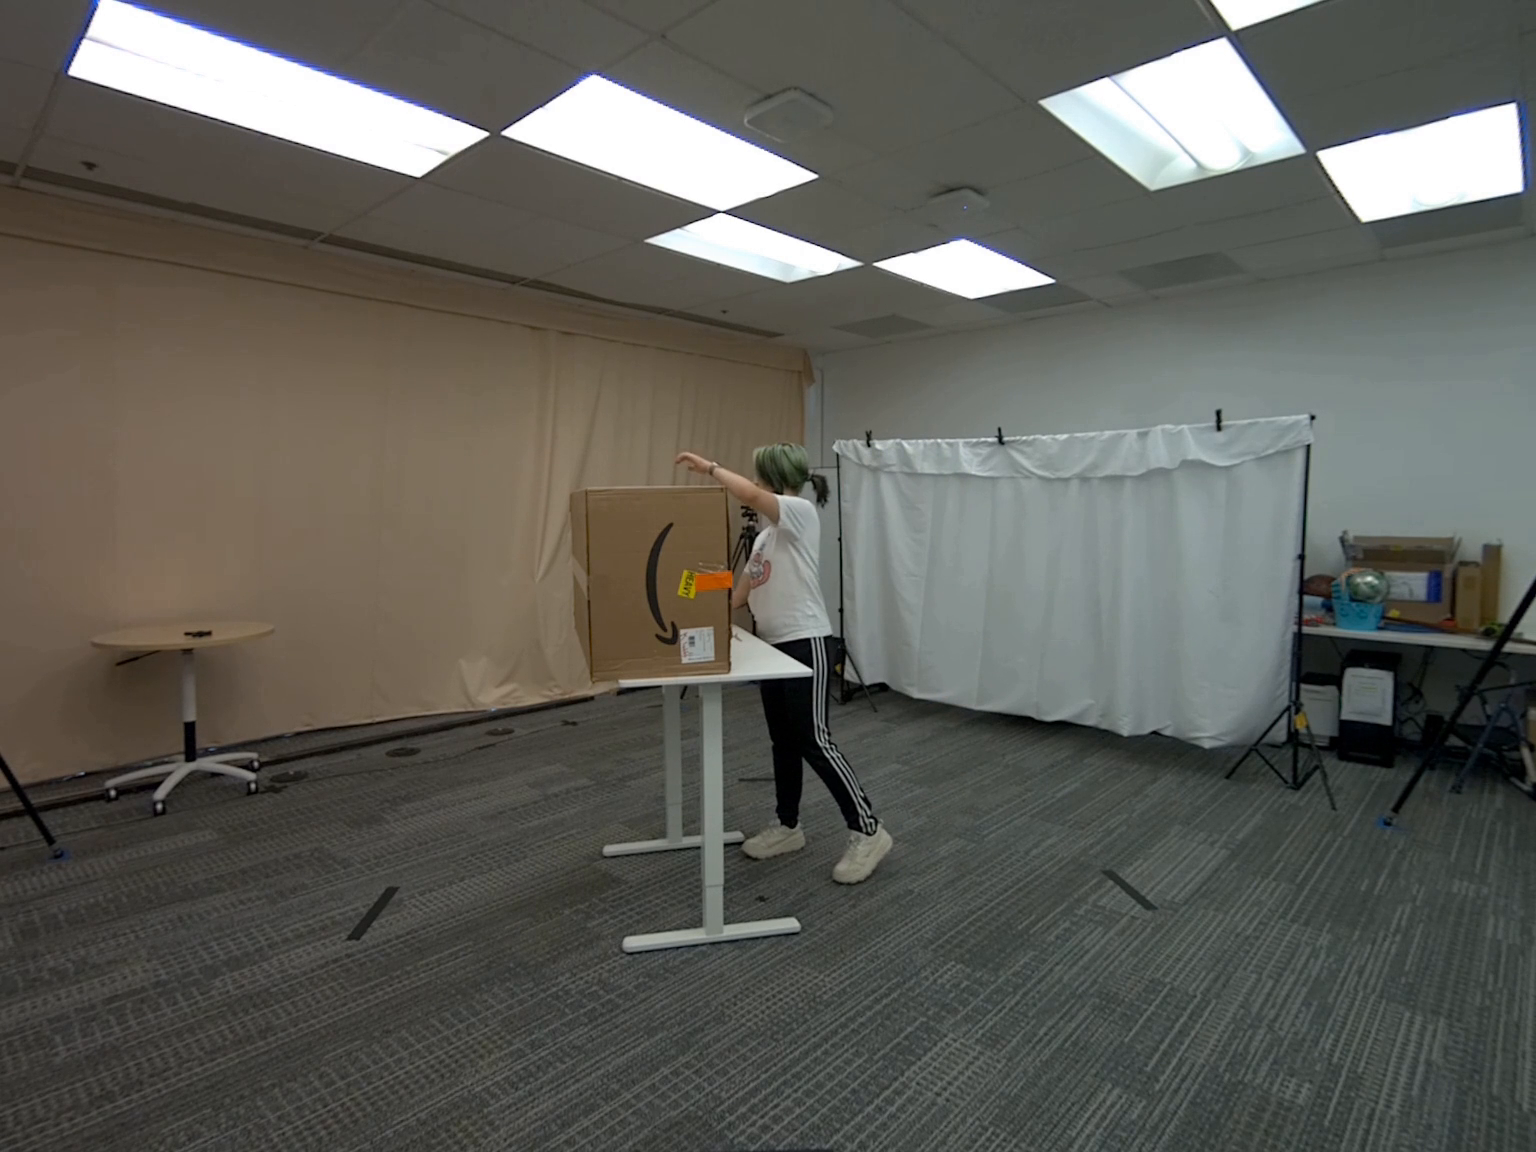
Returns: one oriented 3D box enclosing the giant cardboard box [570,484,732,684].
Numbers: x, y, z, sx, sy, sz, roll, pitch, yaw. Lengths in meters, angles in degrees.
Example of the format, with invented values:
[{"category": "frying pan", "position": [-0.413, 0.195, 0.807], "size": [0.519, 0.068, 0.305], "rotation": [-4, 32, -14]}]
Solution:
[{"category": "giant cardboard box", "position": [-0.451, -0.021, 2.996], "size": [0.440, 0.582, 1.045], "rotation": [-2, 5, -16]}]
